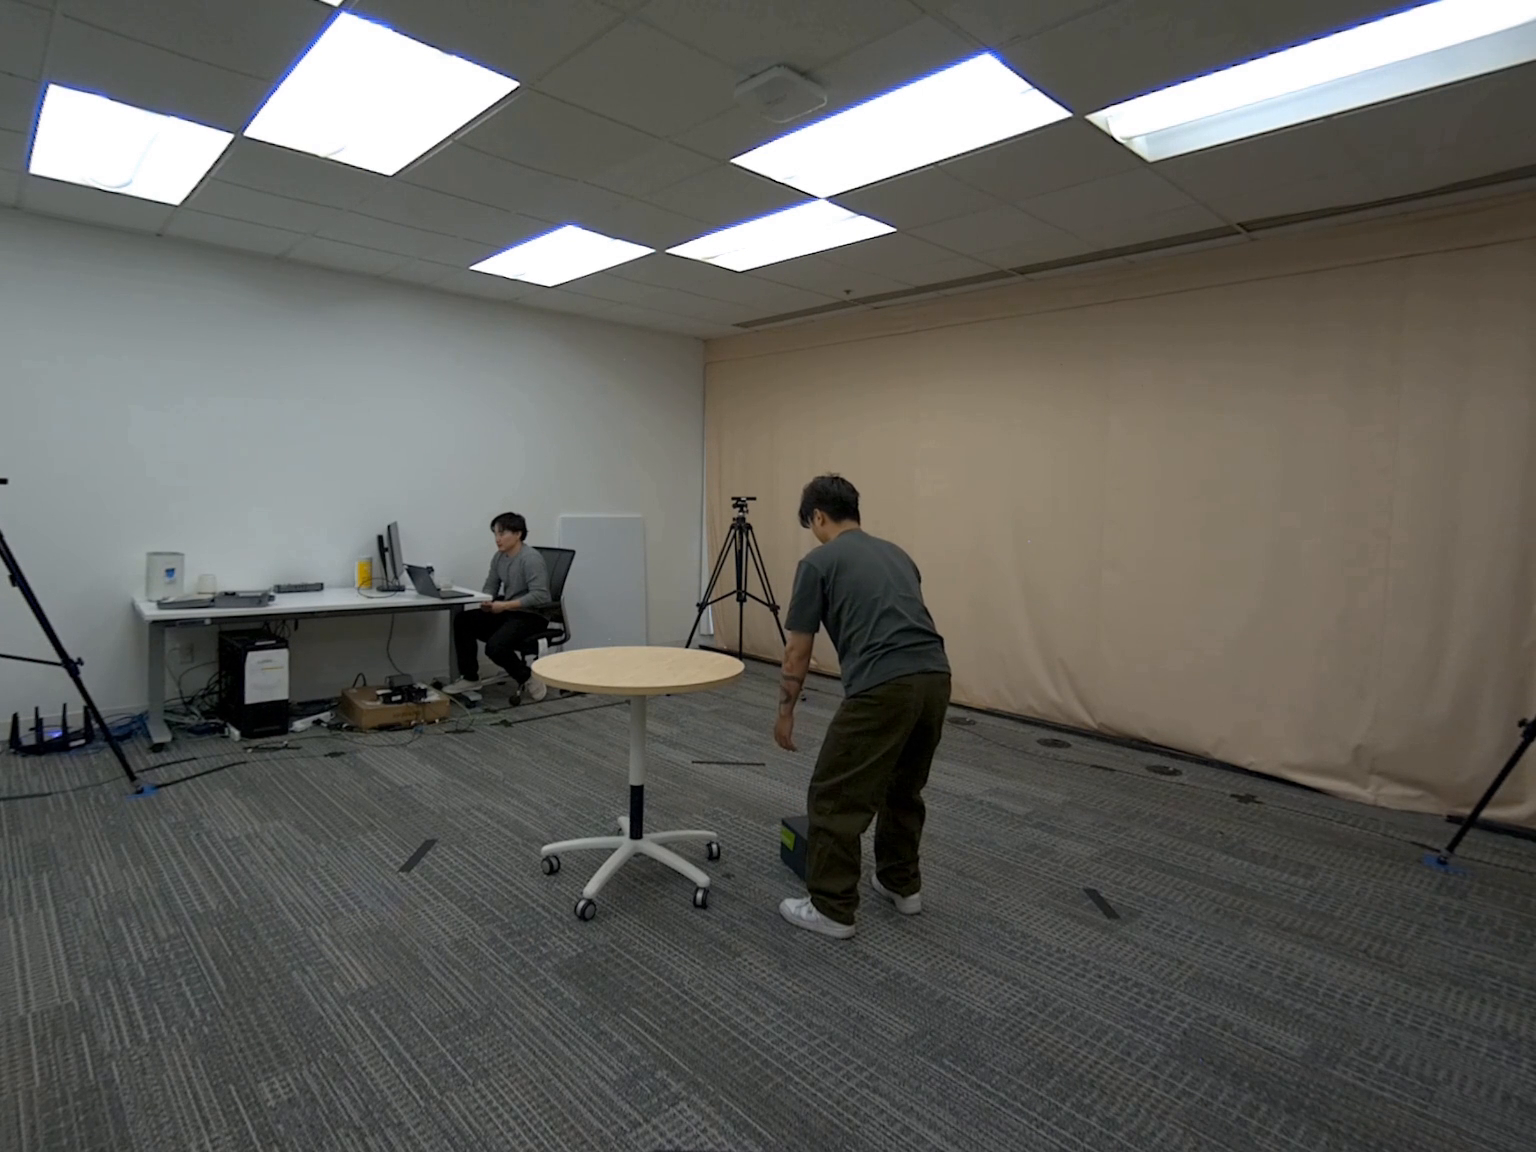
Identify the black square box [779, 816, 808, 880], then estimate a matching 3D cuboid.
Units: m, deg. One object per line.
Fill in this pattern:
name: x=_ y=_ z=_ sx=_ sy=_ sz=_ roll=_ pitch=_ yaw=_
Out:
black square box: x=0.184 y=1.023 z=3.203 sx=0.213 sy=0.155 sz=0.232 roll=0 pitch=4 yaw=-23
